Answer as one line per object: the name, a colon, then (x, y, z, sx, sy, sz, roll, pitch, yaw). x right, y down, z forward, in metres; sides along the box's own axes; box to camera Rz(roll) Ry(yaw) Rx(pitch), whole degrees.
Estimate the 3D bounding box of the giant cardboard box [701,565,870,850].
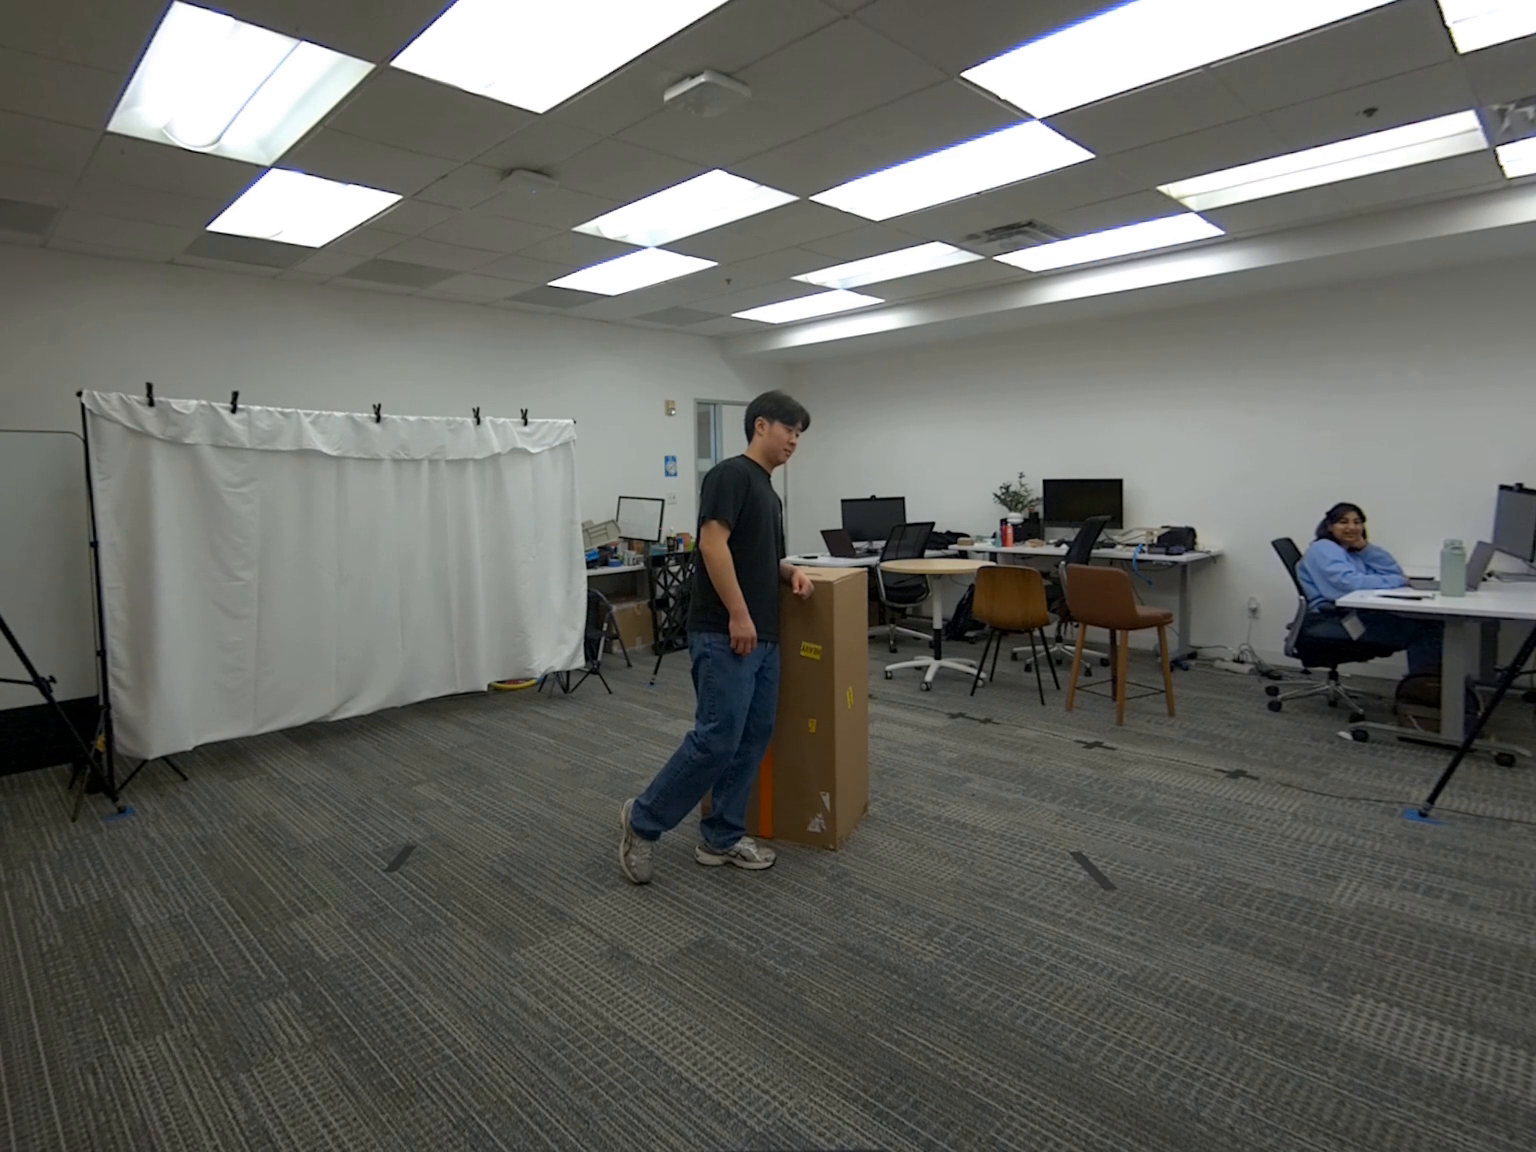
giant cardboard box: (0.075, 0.485, 3.476, 0.598, 1.022, 0.438, 2, 5, 27)
